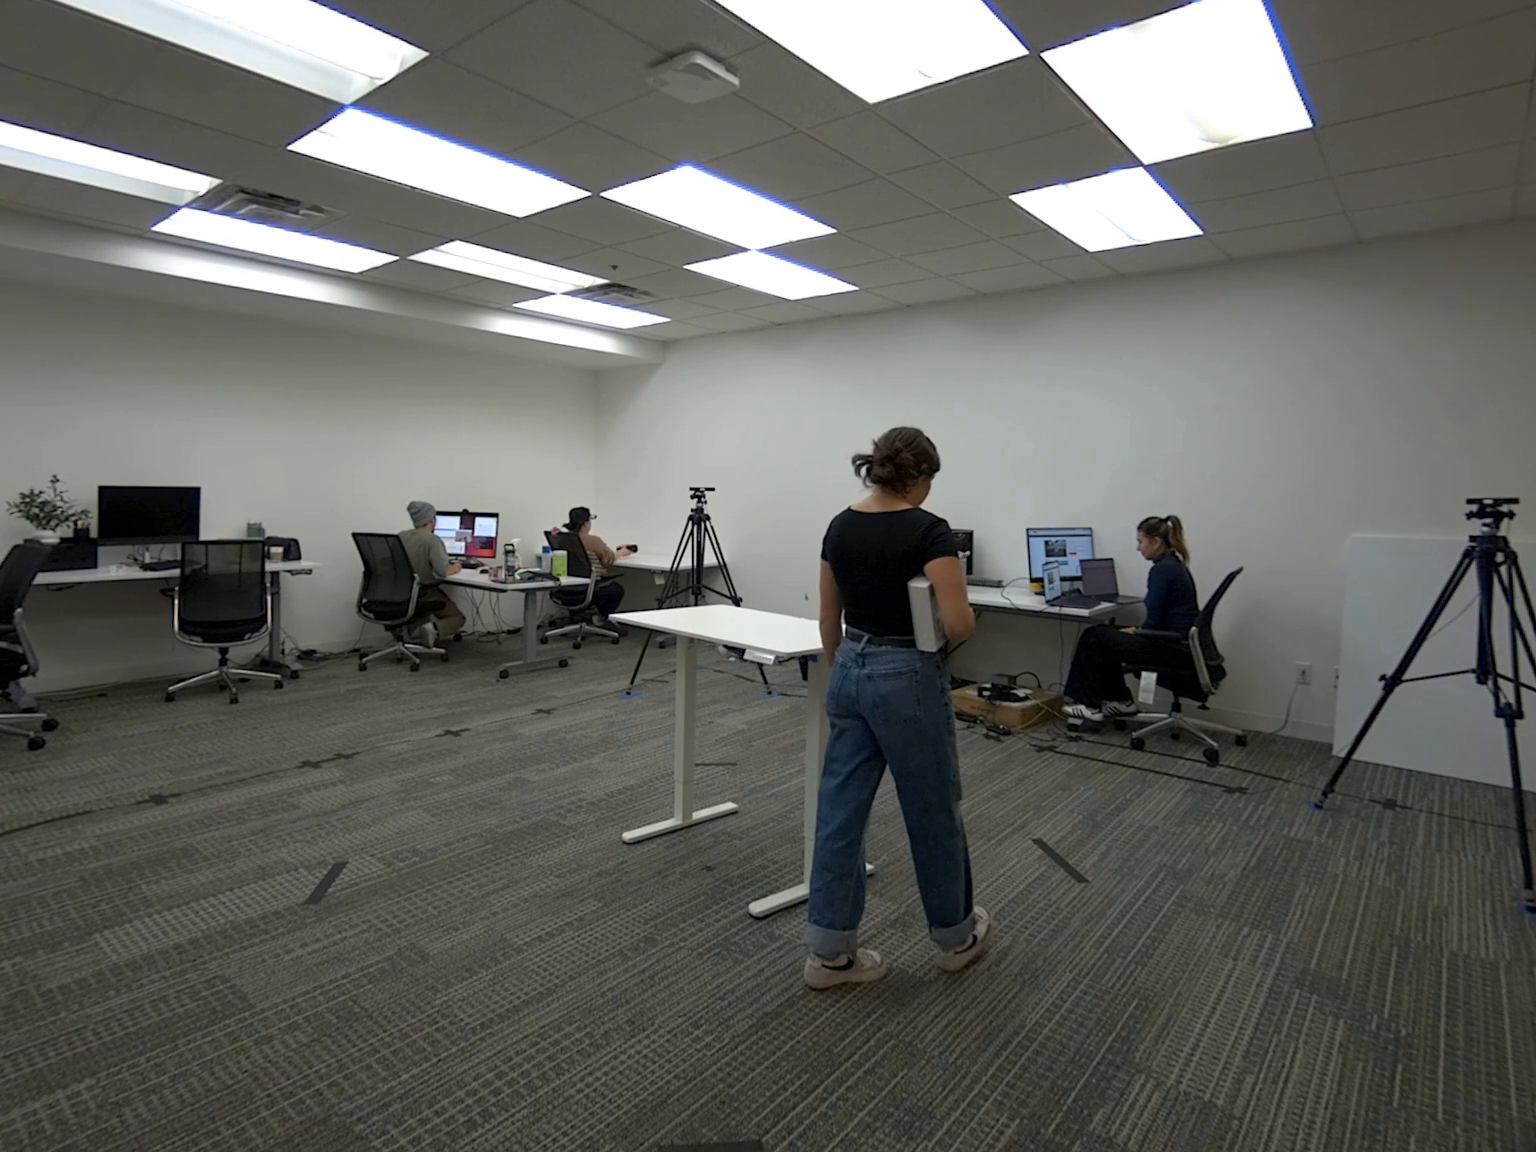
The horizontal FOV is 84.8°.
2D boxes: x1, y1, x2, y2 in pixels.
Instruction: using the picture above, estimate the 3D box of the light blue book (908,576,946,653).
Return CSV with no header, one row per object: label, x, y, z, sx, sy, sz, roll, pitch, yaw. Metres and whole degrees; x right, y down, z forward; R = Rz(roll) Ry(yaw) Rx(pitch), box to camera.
light blue book,0.468,0.064,2.328,0.061,0.188,0.257,-3,17,34
